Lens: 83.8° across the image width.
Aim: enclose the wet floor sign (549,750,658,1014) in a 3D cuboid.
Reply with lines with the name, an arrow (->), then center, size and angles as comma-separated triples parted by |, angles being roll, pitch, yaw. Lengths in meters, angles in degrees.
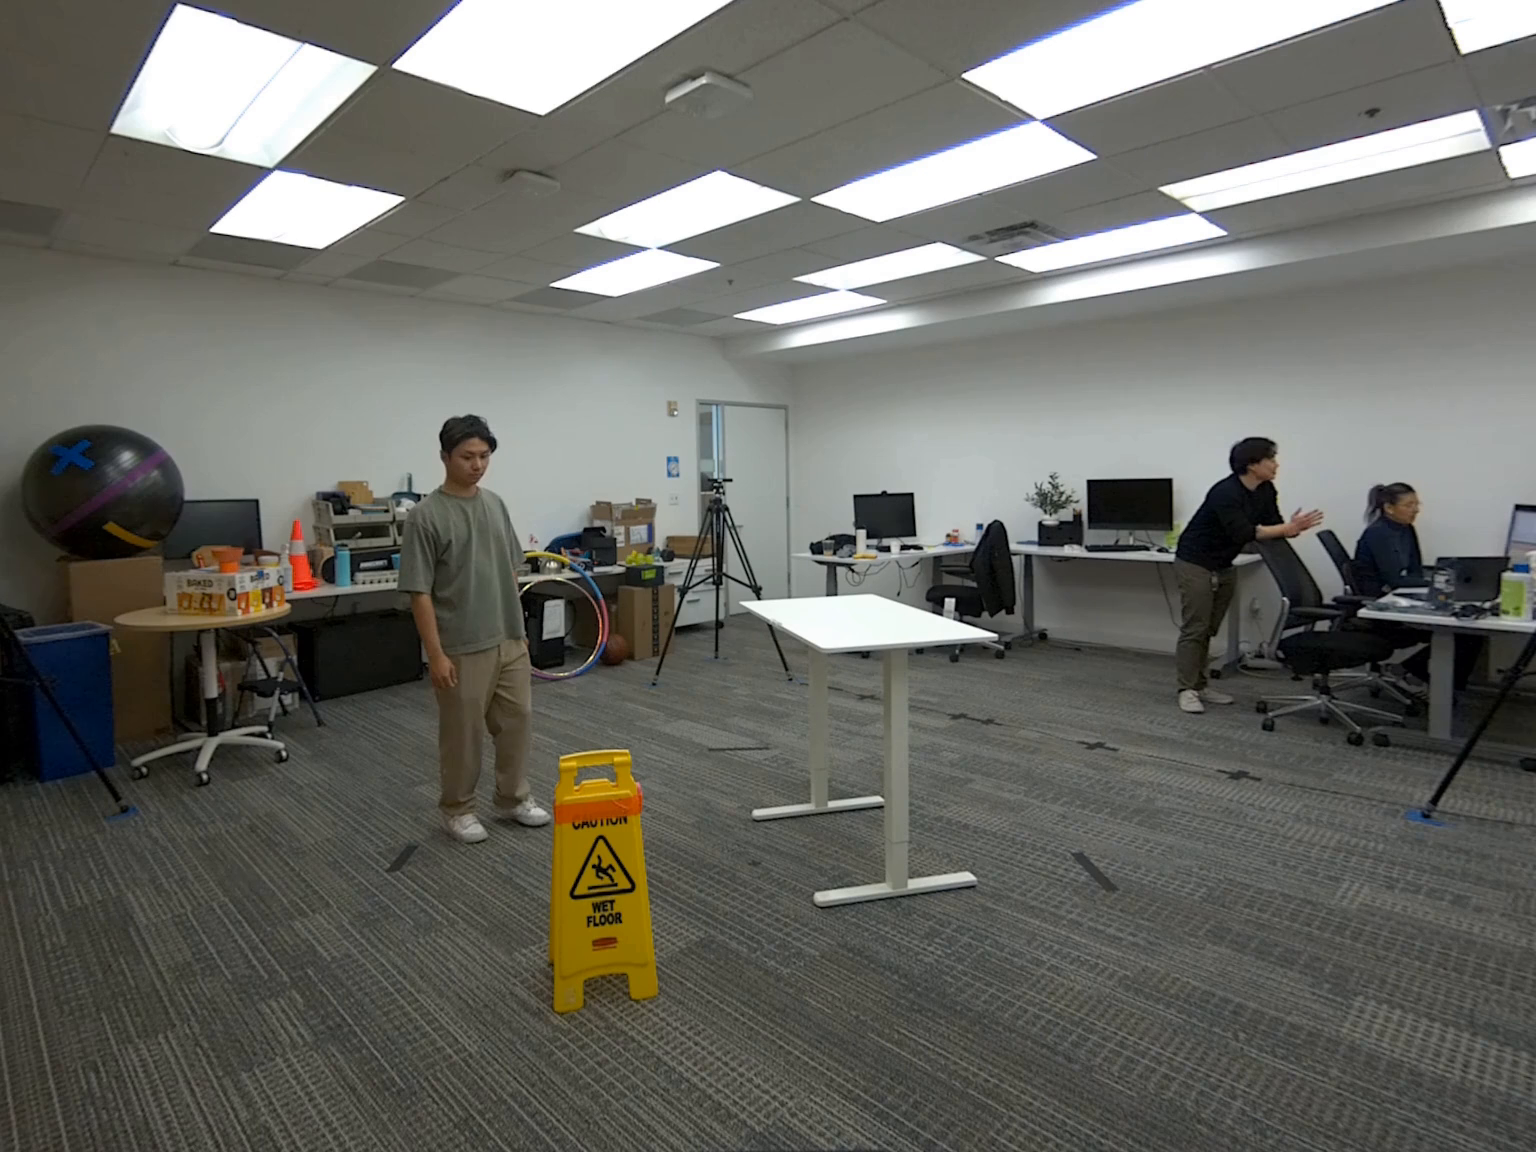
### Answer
wet floor sign -> -0.470, 0.811, 2.383 | 0.278, 0.643, 0.295 | -3, 5, -15
